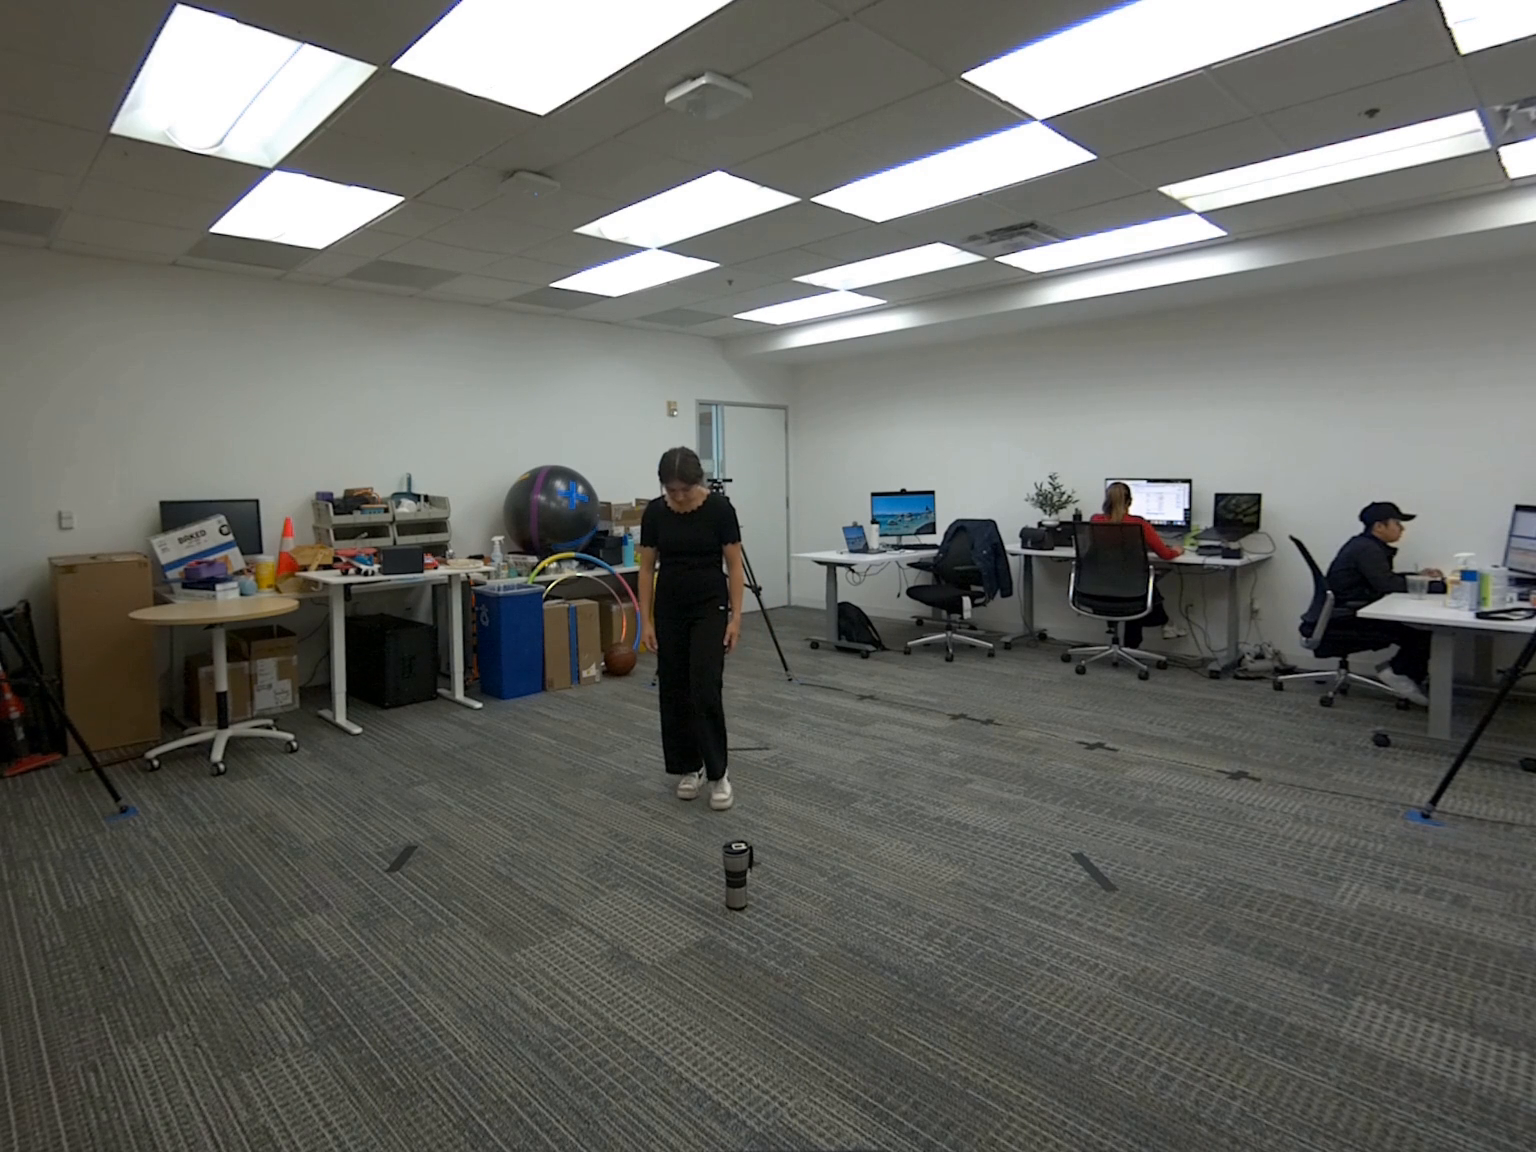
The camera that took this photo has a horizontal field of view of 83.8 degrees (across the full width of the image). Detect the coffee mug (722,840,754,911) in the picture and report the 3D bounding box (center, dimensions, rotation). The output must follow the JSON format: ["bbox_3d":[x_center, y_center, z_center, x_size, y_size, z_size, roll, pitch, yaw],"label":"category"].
[{"bbox_3d":[-0.081,0.981,2.804,0.119,0.203,0.090,-7,2,-33],"label":"coffee mug"}]
